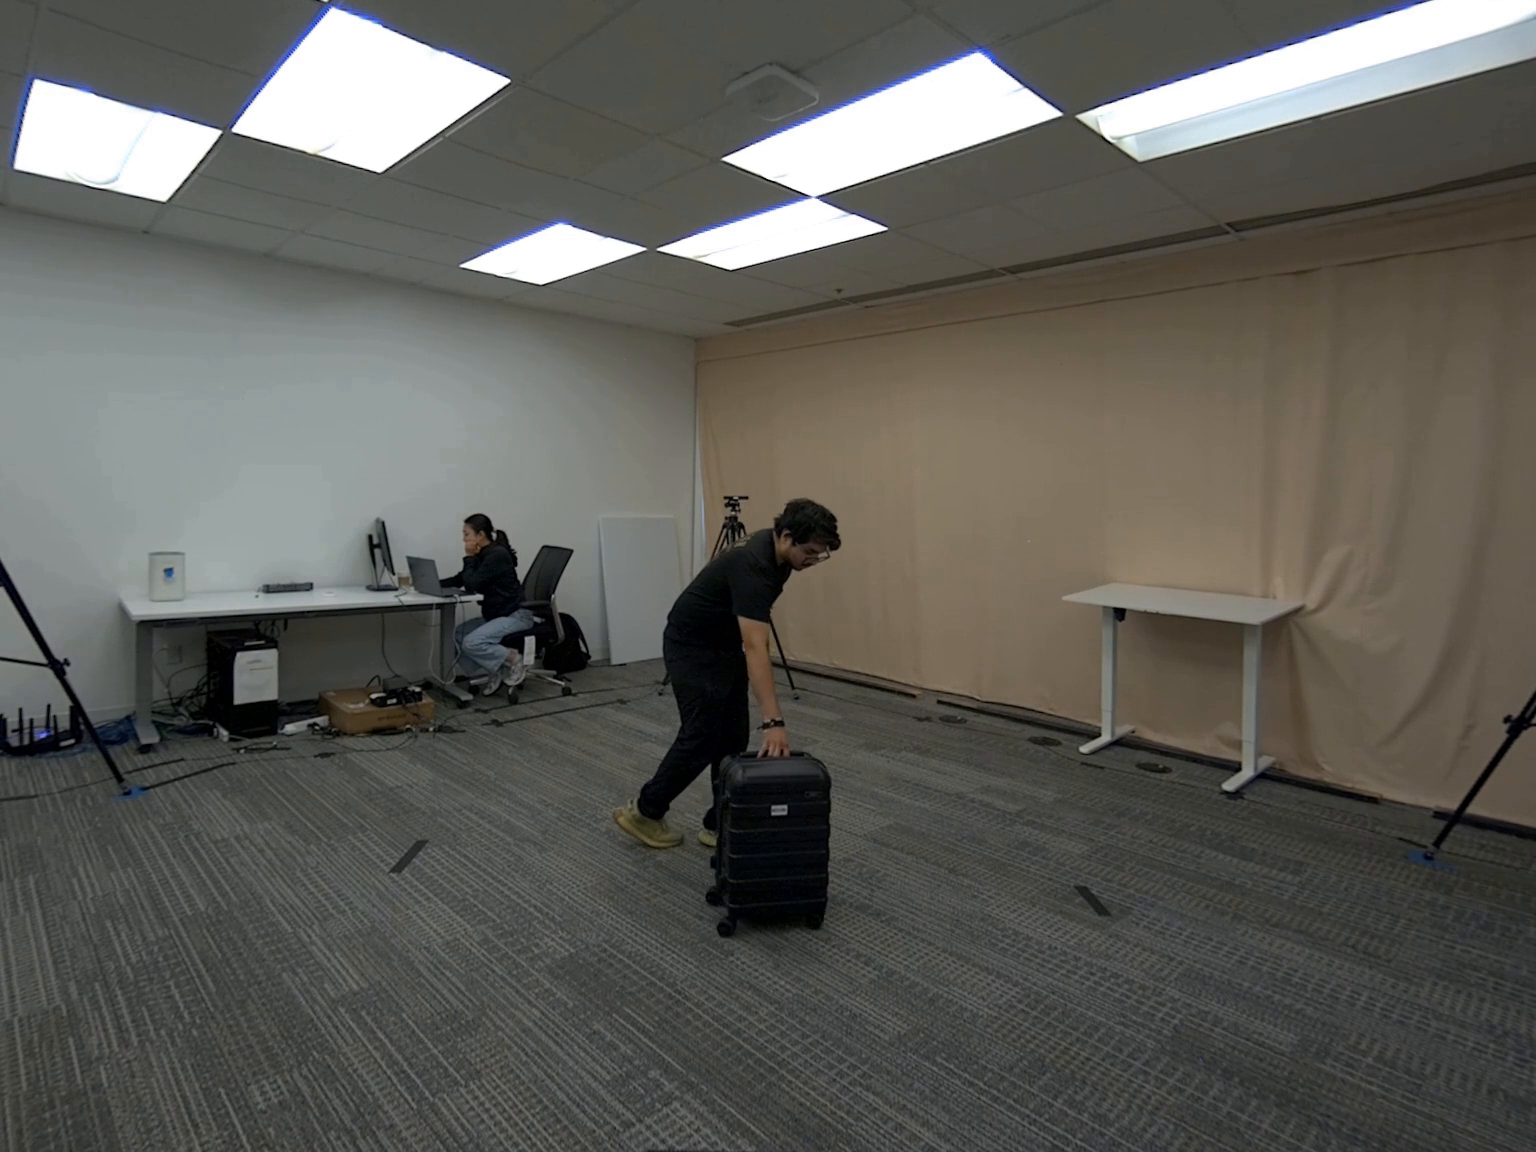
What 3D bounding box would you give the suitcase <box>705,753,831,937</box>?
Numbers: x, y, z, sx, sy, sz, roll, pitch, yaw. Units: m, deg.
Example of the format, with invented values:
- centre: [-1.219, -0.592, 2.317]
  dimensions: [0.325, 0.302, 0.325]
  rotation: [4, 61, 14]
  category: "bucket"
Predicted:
- centre: [0.007, 0.860, 2.788]
  dimensions: [0.372, 0.547, 0.251]
  rotation: [2, 5, -12]
  category: "suitcase"
